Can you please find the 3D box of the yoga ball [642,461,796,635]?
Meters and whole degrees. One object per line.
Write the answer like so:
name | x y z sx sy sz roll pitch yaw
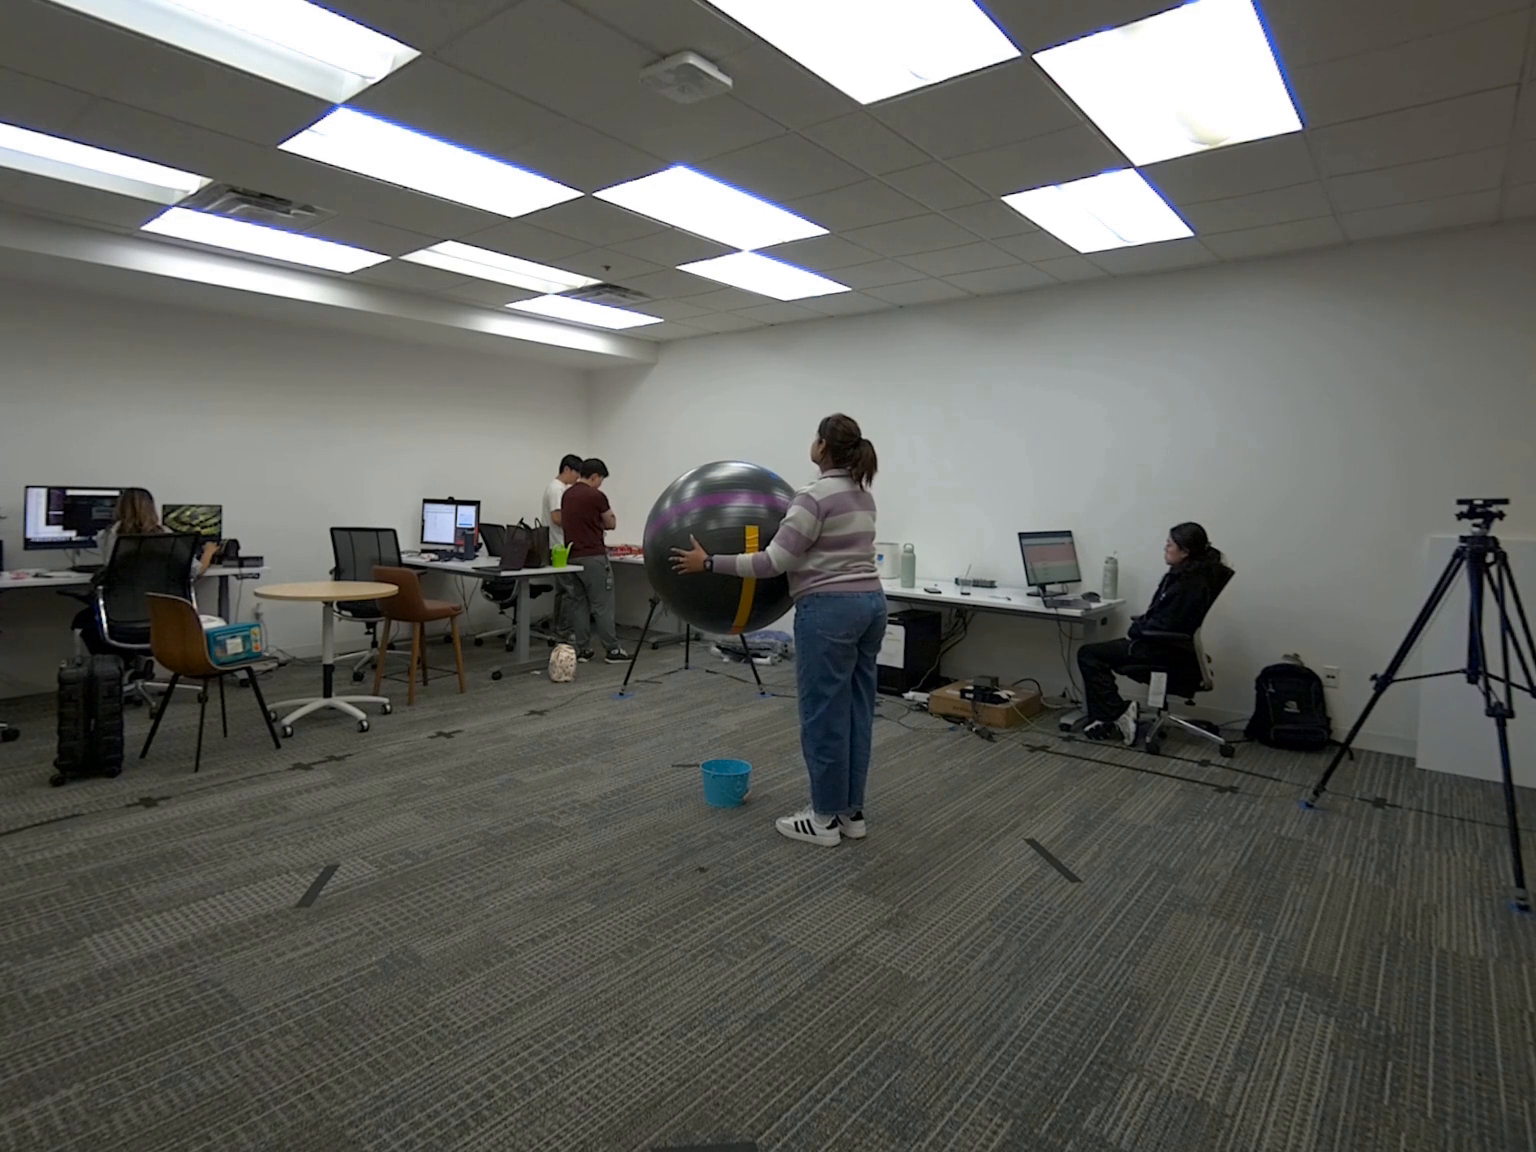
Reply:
yoga ball | -0.189 -0.121 3.753 0.757 0.756 0.761 1 4 -2
